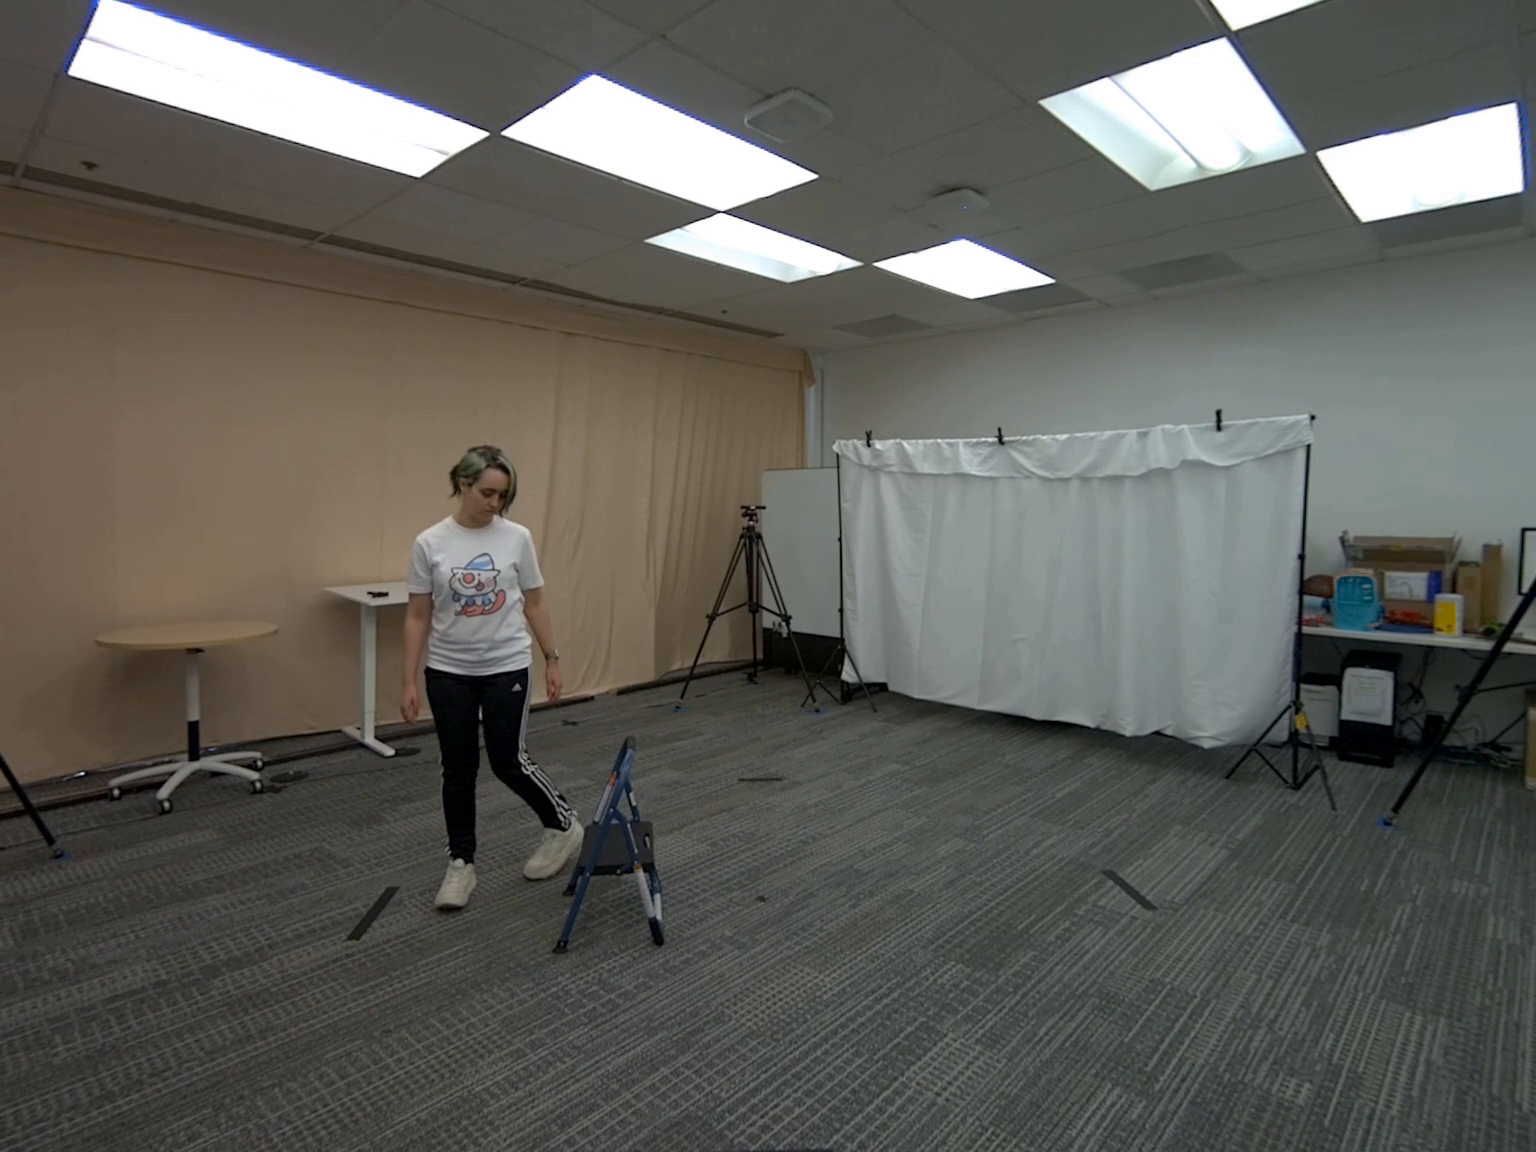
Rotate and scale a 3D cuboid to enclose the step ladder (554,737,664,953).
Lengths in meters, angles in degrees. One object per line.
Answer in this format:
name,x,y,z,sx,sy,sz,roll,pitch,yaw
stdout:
step ladder,-0.533,0.861,2.835,0.347,0.605,0.435,-1,3,-8
